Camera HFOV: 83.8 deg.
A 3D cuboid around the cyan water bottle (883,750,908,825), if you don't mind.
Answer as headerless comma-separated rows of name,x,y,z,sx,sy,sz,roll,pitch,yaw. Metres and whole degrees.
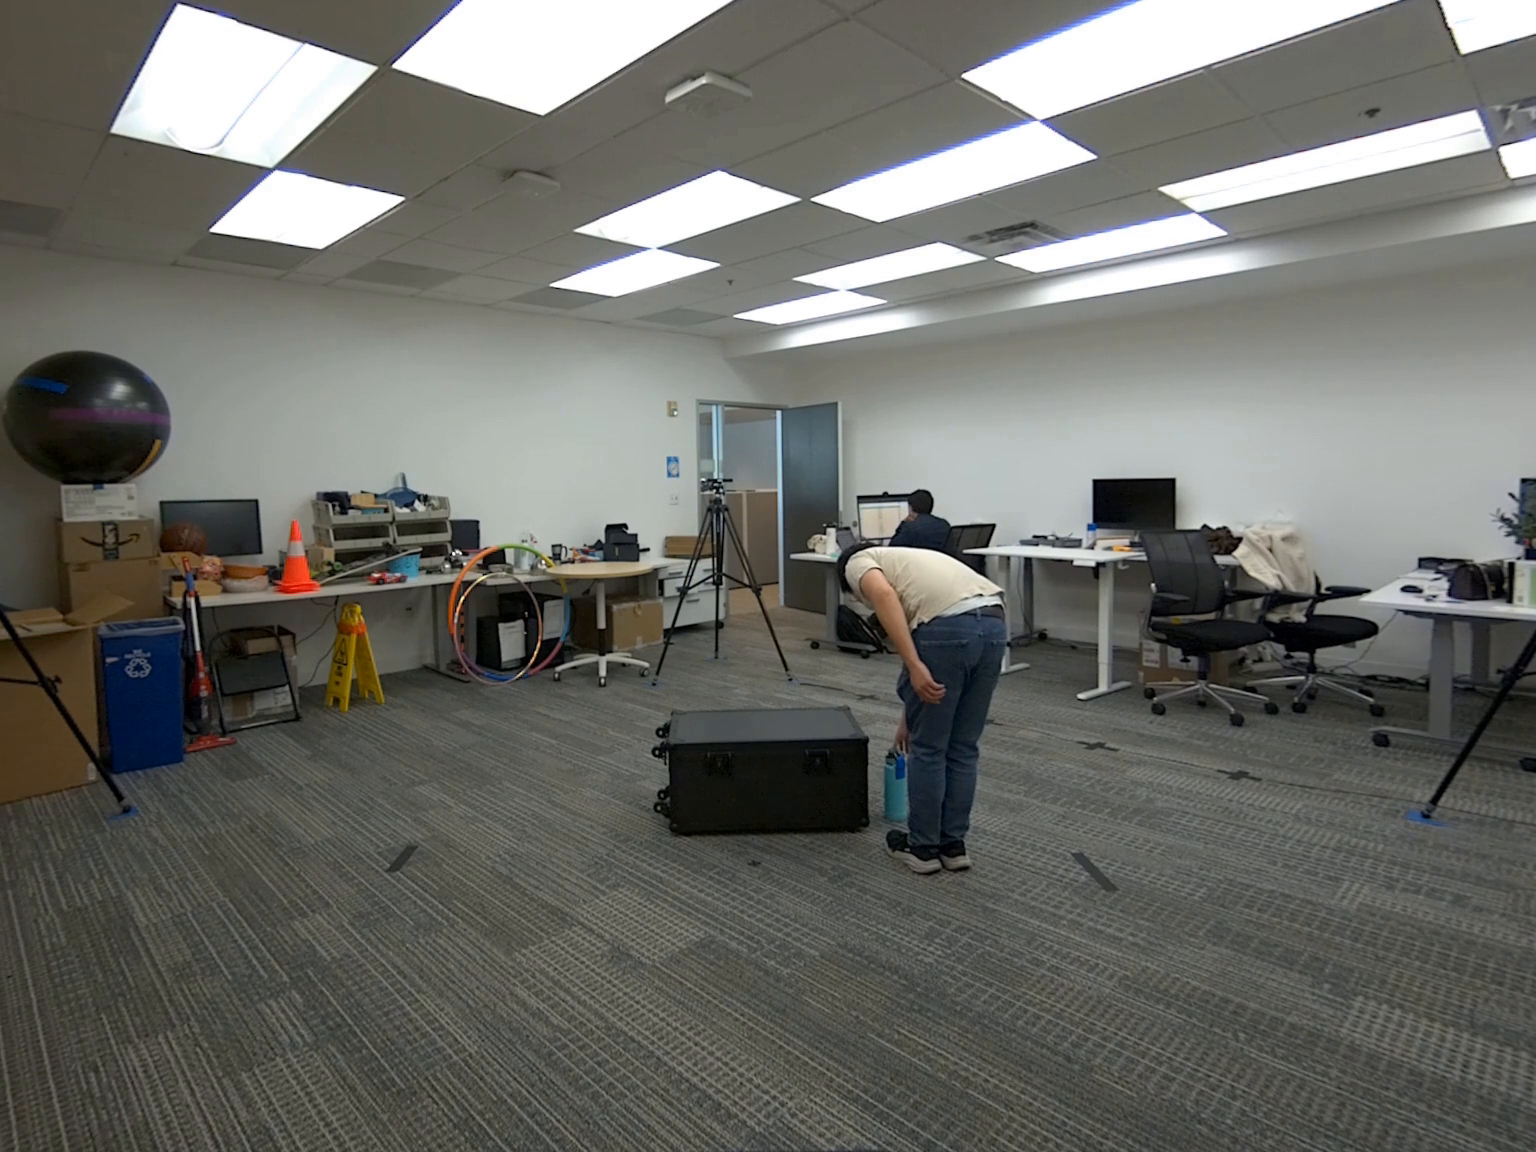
cyan water bottle,0.519,0.844,3.489,0.092,0.283,0.092,-2,2,-2
